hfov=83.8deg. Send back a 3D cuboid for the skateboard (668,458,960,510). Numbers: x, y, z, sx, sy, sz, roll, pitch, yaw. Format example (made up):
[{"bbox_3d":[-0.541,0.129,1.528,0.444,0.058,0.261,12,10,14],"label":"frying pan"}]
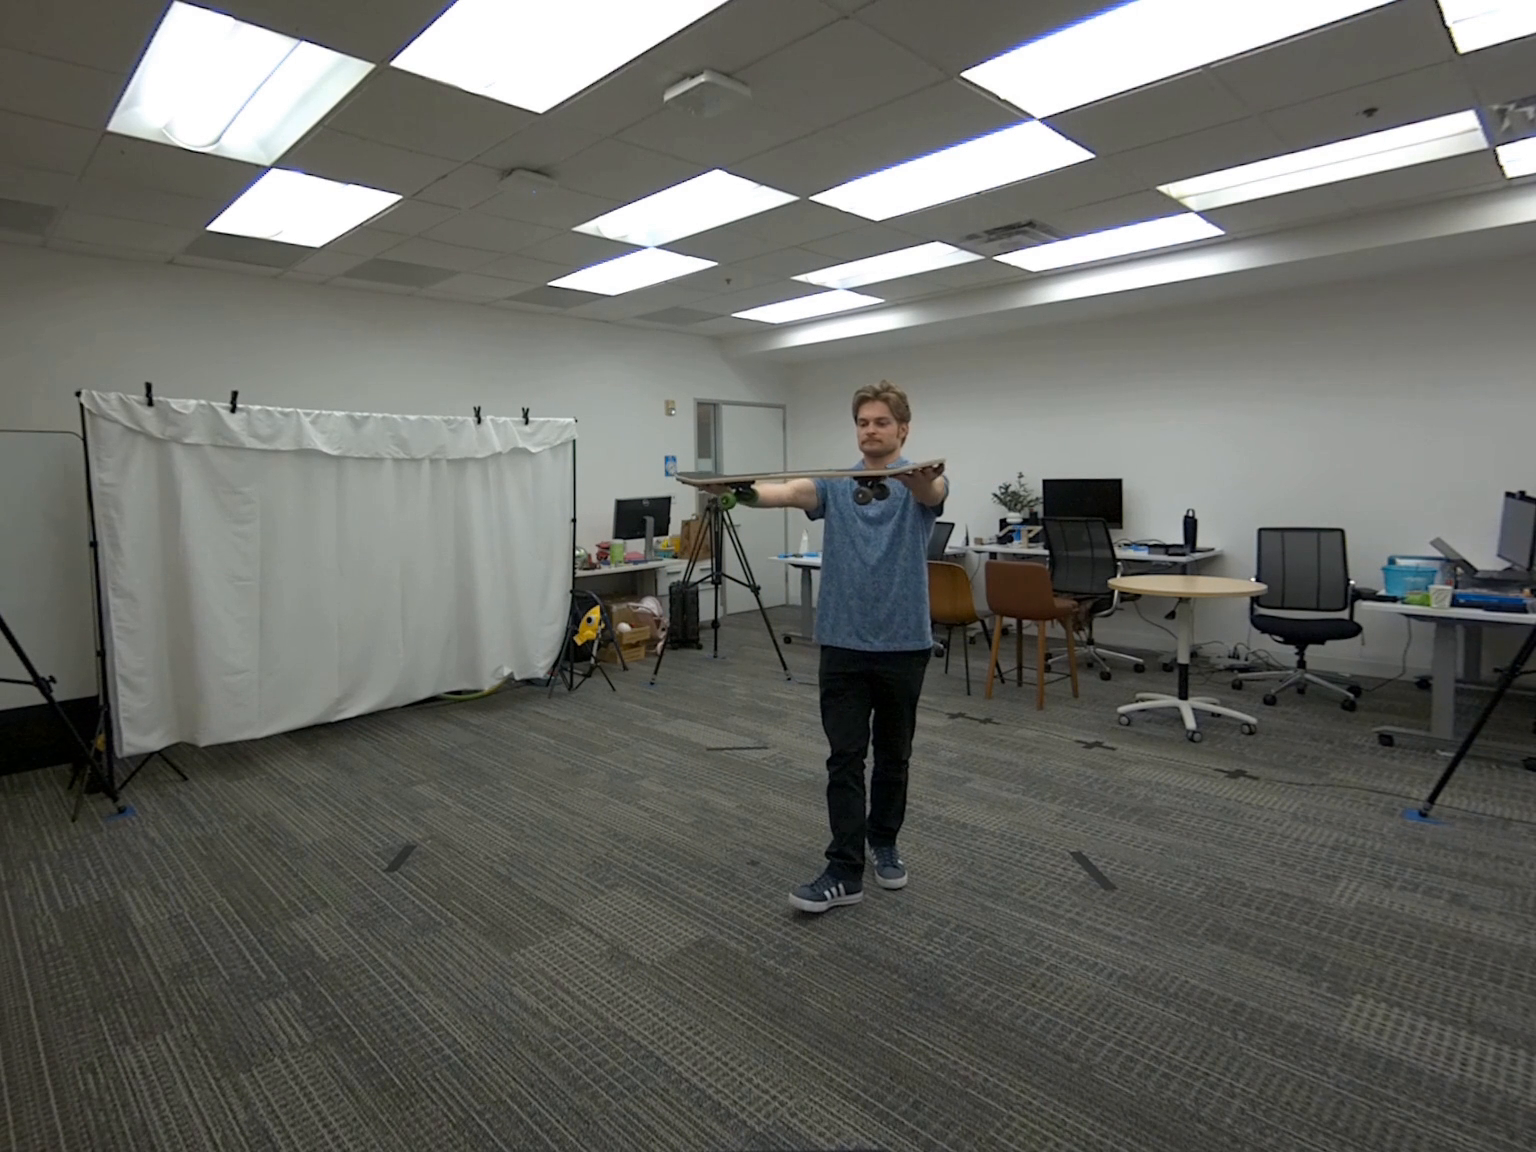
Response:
[{"bbox_3d":[0.117,-0.251,2.393,0.801,0.110,0.190,0,3,22],"label":"skateboard"}]
